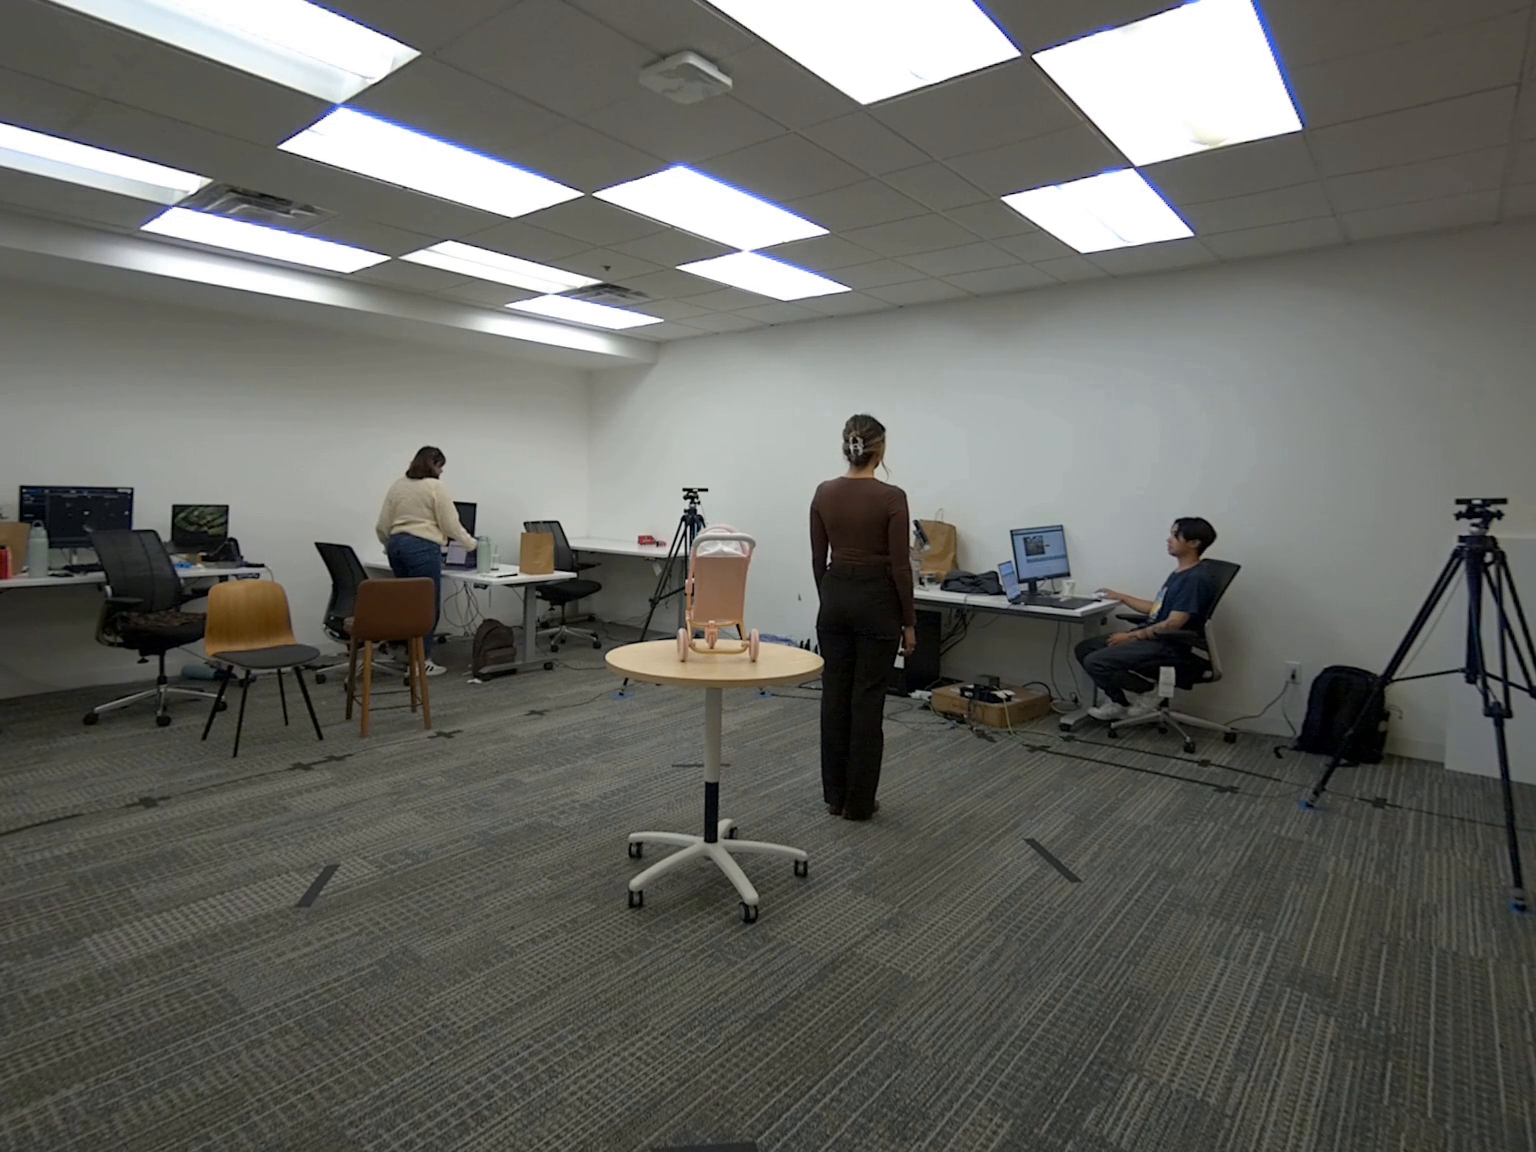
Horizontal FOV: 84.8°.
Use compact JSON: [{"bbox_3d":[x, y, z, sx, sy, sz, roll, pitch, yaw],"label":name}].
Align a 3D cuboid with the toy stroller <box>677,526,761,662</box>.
[{"bbox_3d":[-0.184,0.058,2.987,0.280,0.527,0.348,1,17,-6],"label":"toy stroller"}]
